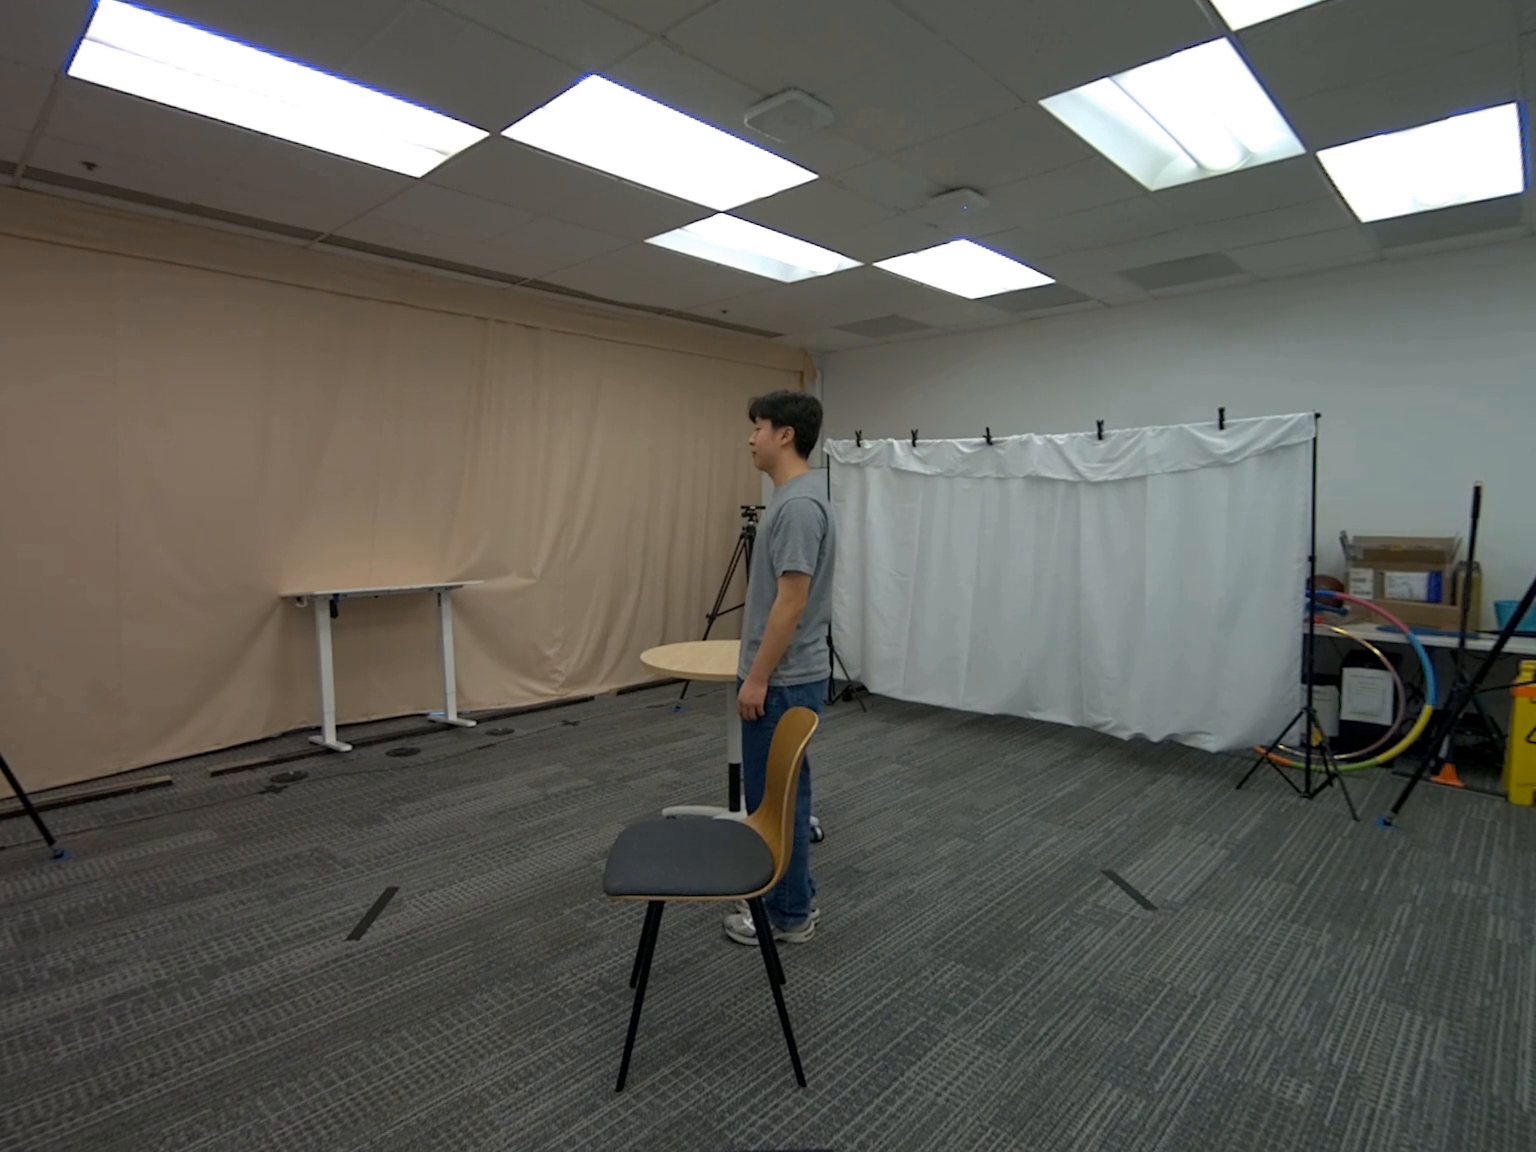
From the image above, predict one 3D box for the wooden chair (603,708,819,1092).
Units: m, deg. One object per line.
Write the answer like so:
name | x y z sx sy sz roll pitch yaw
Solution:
wooden chair | -0.163 0.780 2.205 0.522 0.875 0.480 4 4 -3
